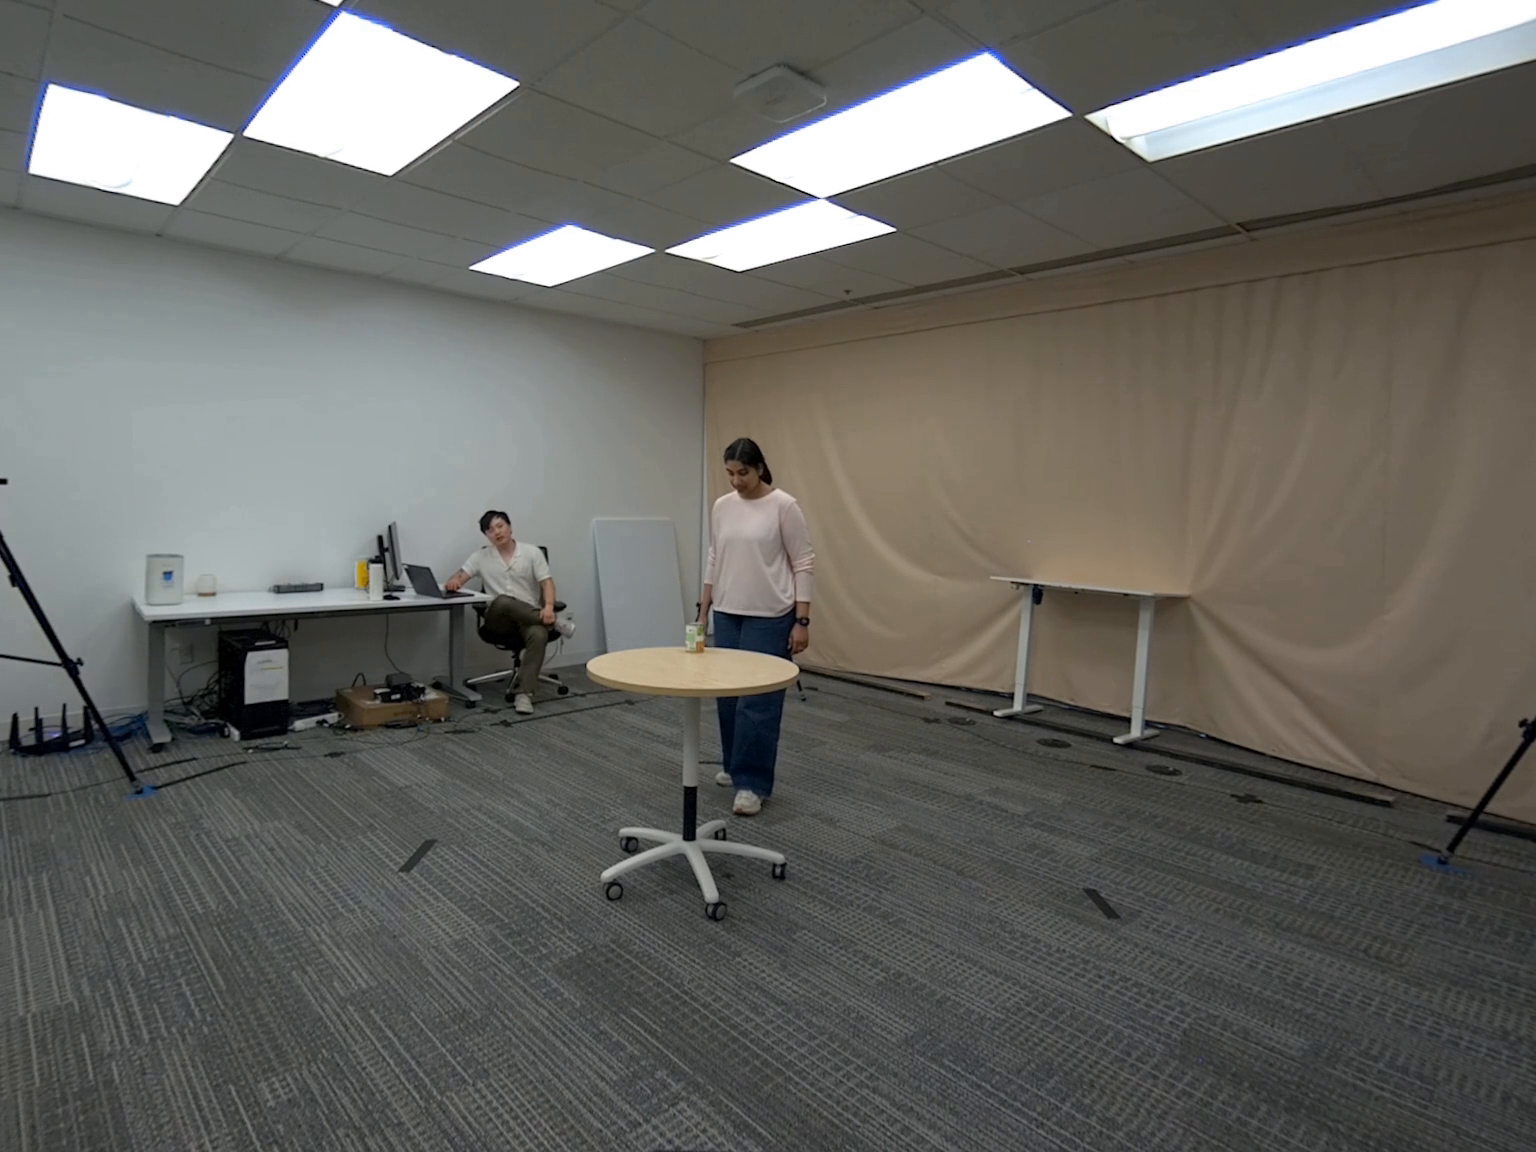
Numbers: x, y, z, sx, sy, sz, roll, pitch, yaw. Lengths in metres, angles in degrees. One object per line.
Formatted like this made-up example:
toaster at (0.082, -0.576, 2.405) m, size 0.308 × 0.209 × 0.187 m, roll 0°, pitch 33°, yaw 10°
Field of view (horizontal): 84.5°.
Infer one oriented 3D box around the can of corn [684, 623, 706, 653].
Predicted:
can of corn at (-0.305, 0.245, 3.325) m, size 0.074 × 0.111 × 0.074 m, roll 4°, pitch 3°, yaw -2°
